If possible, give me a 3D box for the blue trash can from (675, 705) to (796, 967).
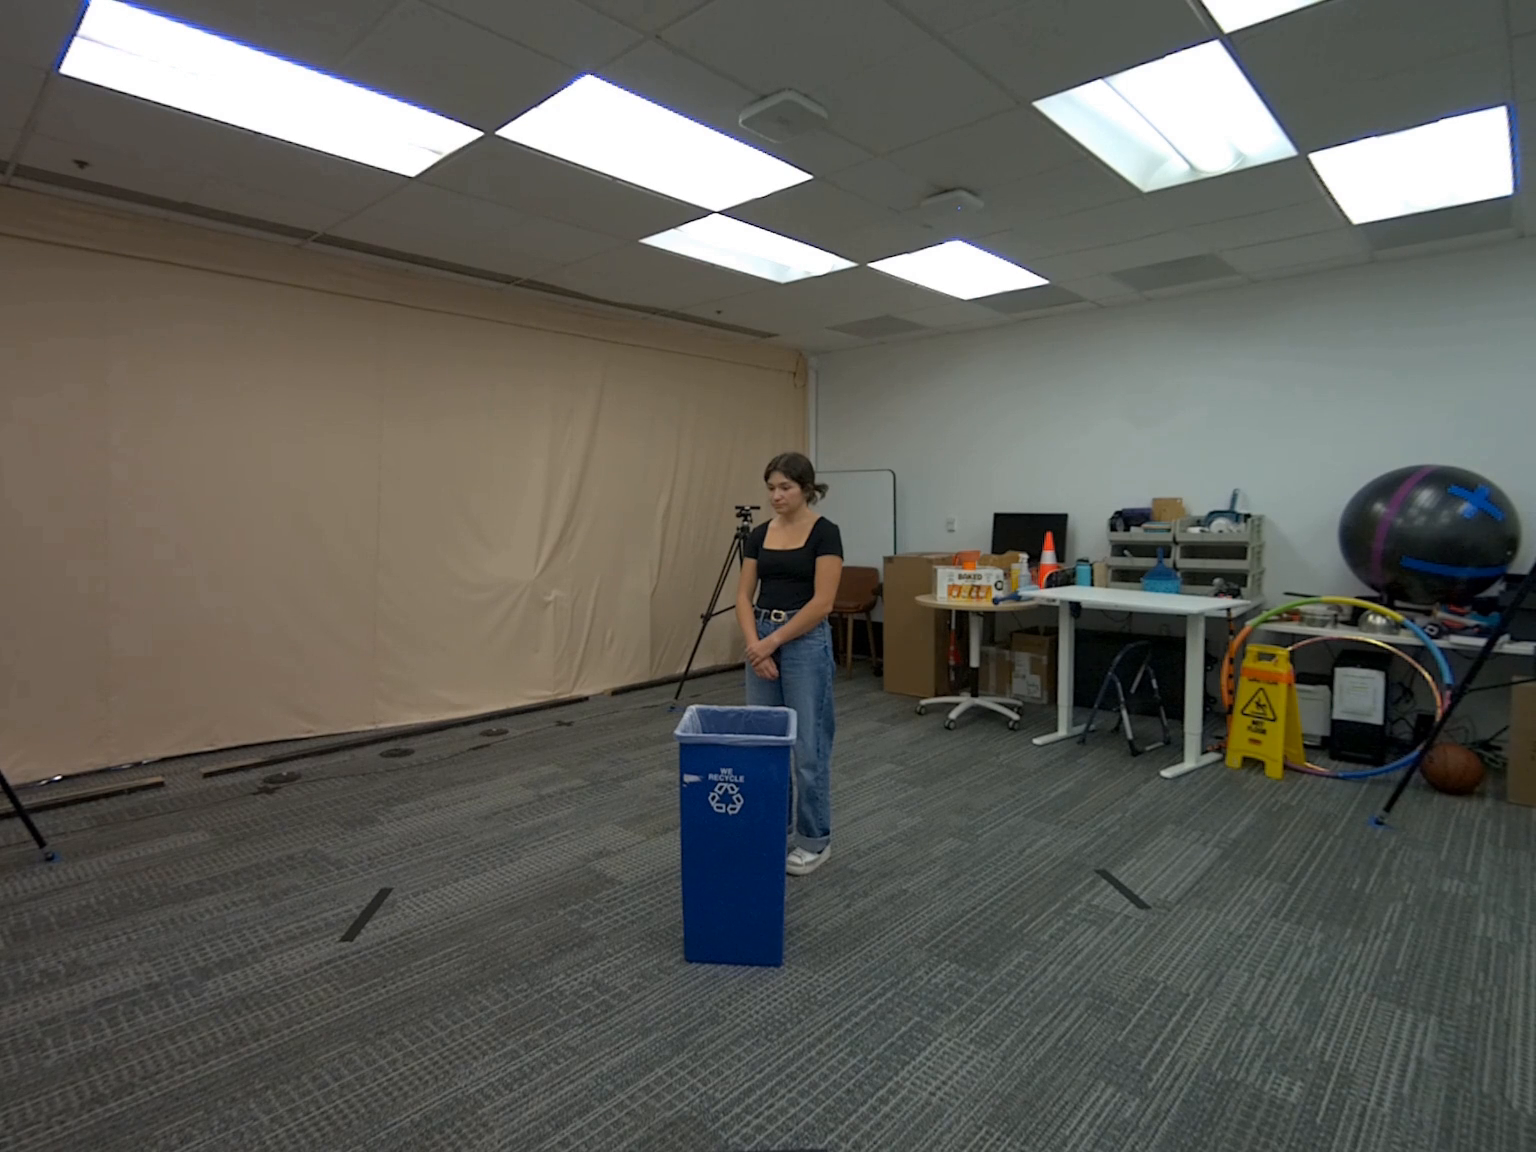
[{"bbox_3d":[-0.092,0.817,2.677,0.376,0.712,0.377,0,4,4],"label":"blue trash can"}]
